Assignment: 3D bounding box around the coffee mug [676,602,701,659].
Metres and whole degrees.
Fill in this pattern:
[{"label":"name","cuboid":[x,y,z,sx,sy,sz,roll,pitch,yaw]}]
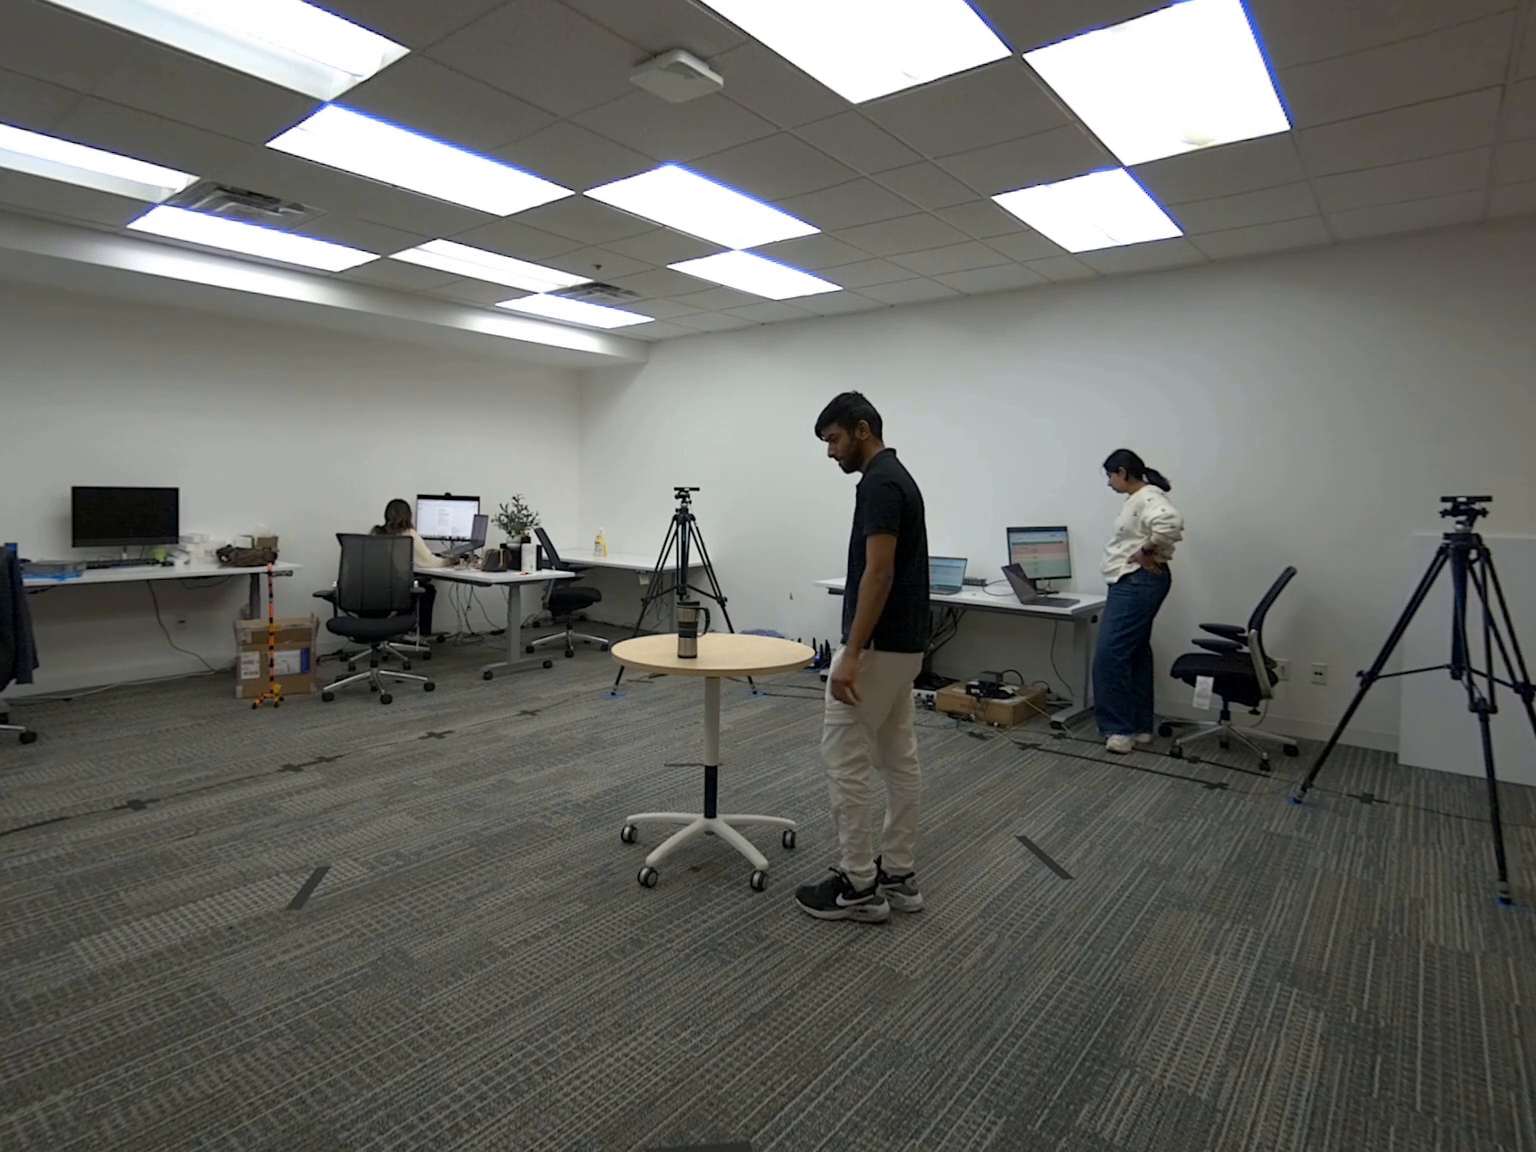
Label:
[{"label":"coffee mug","cuboid":[-0.285,0.189,3.020,0.085,0.203,0.126,3,-1,-40]}]
